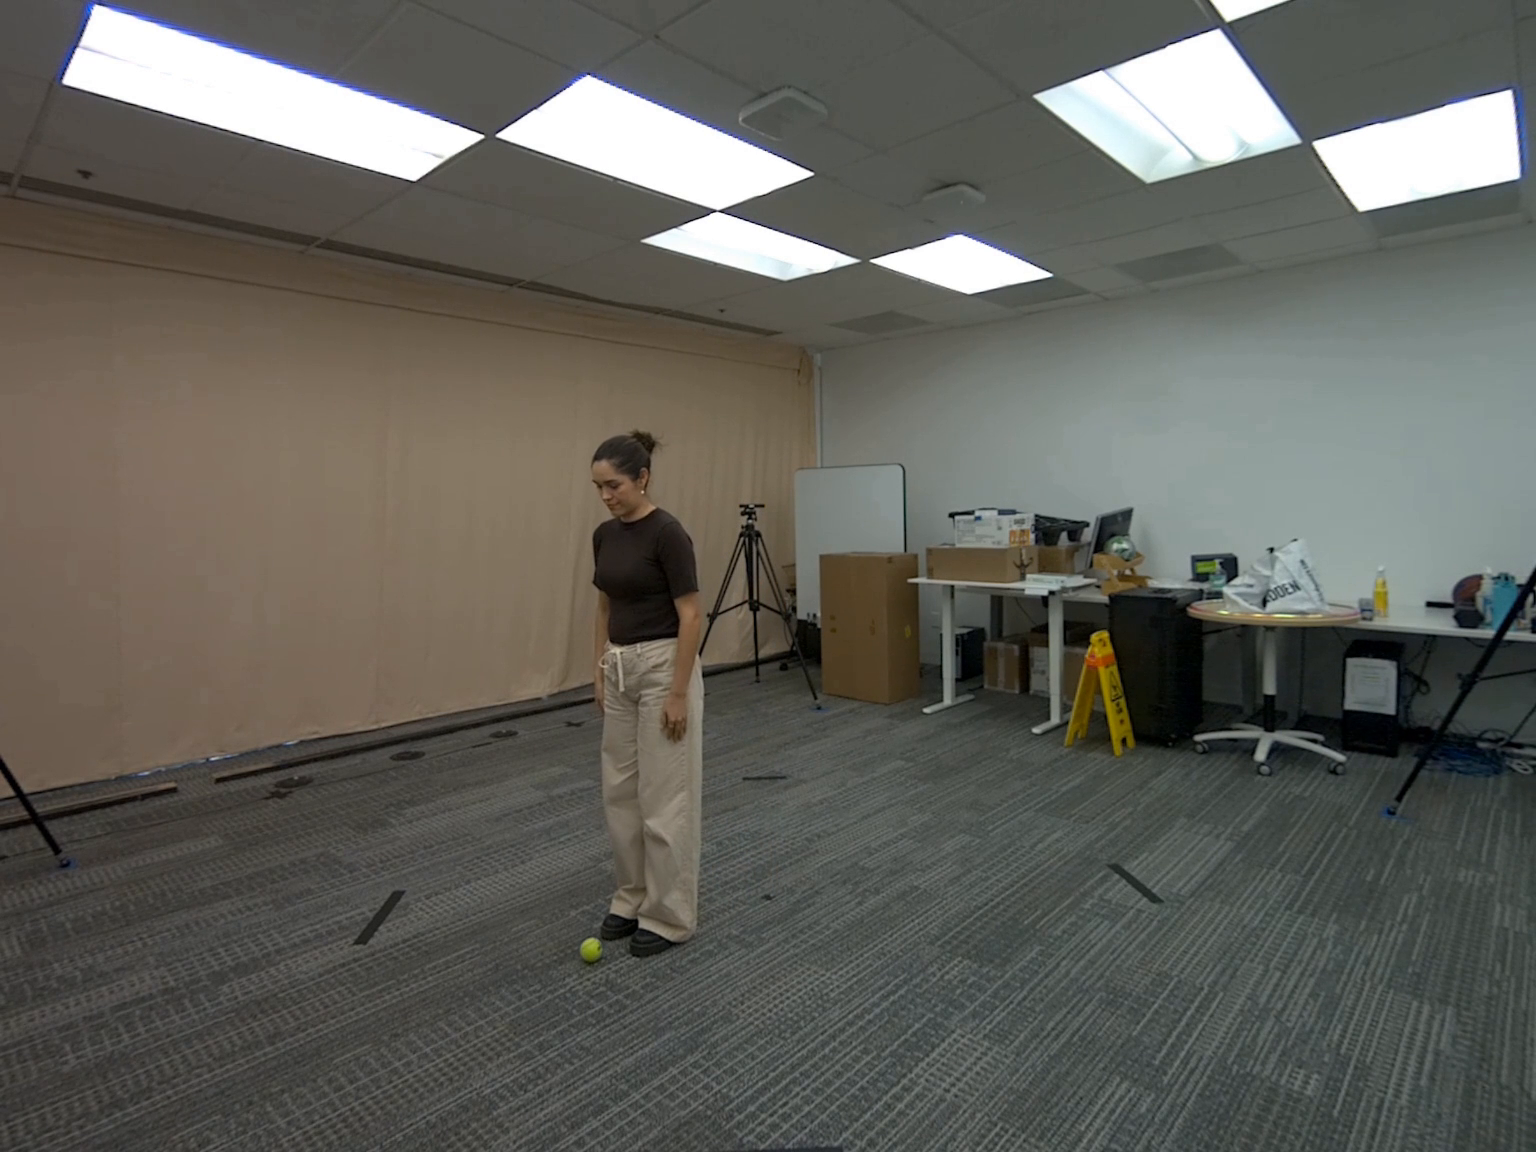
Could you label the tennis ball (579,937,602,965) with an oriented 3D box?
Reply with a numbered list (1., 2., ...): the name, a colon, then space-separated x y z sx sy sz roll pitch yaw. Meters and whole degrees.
1. tennis ball: -0.532 1.132 2.593 0.066 0.066 0.067 -1 4 -2
